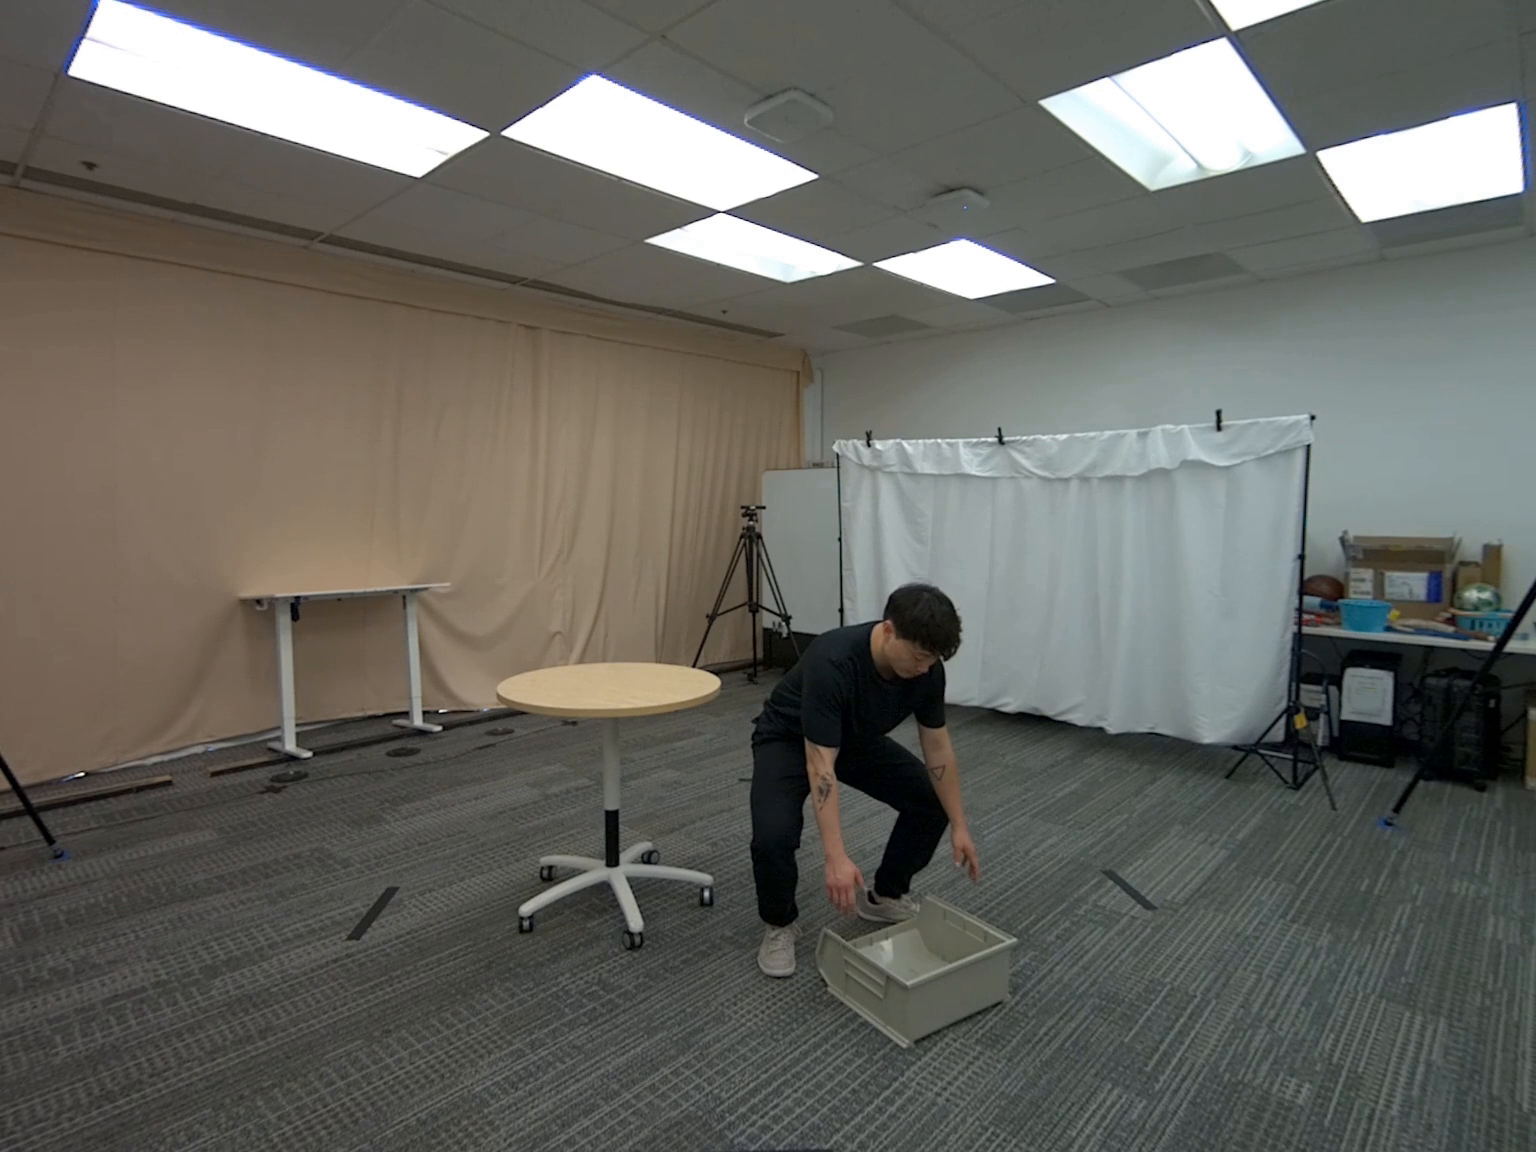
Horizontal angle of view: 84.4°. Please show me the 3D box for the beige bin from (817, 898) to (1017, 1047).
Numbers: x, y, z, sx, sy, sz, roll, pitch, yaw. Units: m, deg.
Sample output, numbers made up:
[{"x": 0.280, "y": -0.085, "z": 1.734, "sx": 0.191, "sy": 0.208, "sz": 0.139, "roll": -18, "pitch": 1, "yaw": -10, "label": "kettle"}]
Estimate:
[{"x": 0.421, "y": 1.103, "z": 2.404, "sx": 0.410, "sy": 0.188, "sz": 0.389, "roll": -3, "pitch": 6, "yaw": -34, "label": "beige bin"}]
